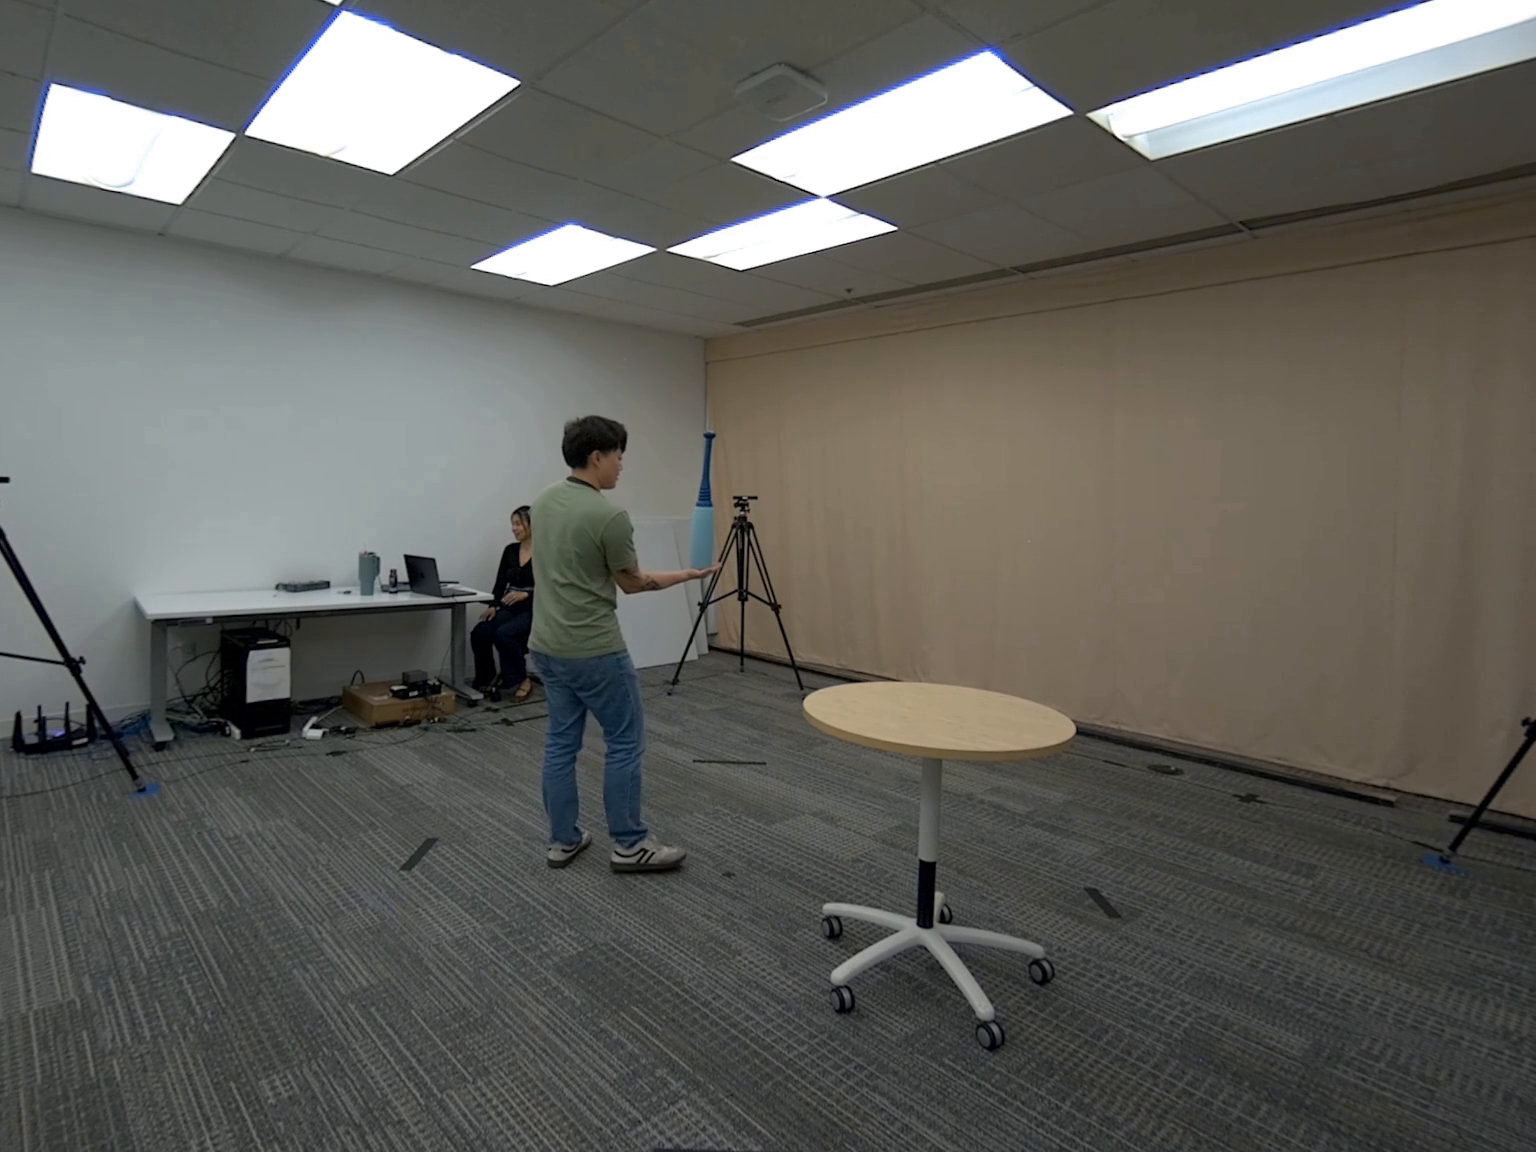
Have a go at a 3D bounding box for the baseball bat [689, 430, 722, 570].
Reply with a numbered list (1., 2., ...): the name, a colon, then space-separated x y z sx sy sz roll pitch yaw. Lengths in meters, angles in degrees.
1. baseball bat: -0.241 -0.285 3.265 0.089 0.541 0.089 4 3 -2
